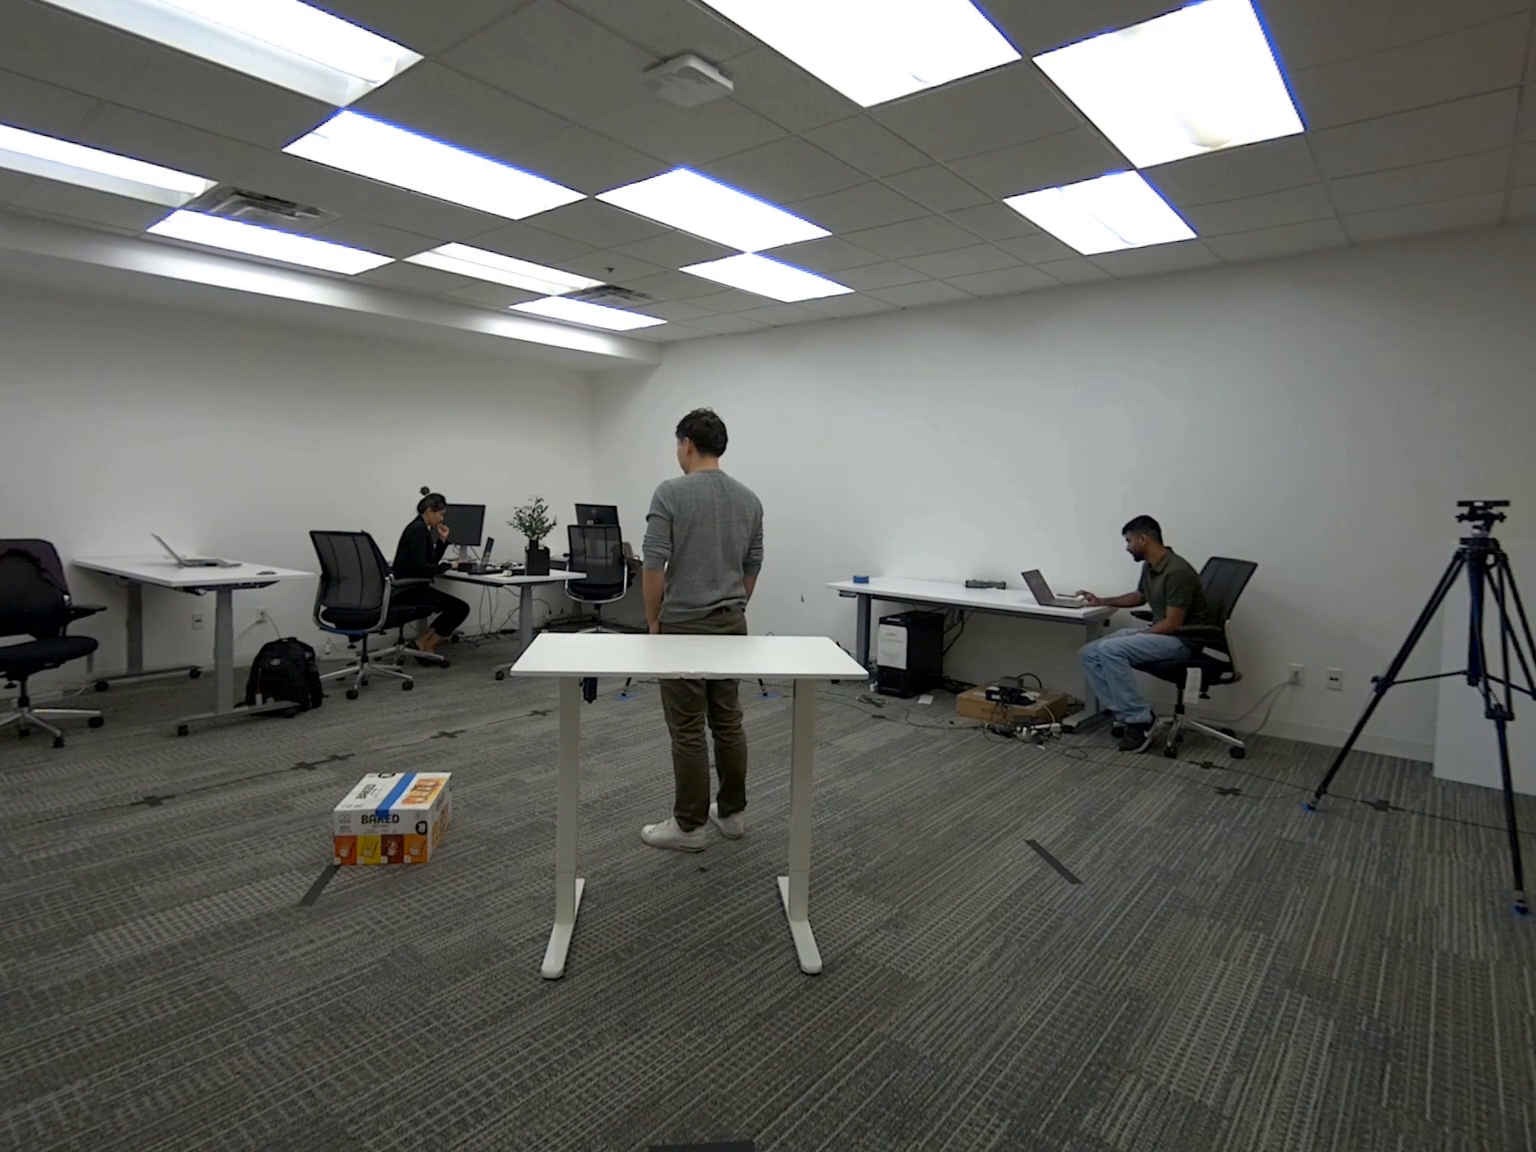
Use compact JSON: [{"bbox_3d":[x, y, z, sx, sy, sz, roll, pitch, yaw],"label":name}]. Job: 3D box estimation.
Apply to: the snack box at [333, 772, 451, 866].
[{"bbox_3d":[-1.465,0.934,3.309,0.338,0.205,0.410,0,6,-8],"label":"snack box"}]
